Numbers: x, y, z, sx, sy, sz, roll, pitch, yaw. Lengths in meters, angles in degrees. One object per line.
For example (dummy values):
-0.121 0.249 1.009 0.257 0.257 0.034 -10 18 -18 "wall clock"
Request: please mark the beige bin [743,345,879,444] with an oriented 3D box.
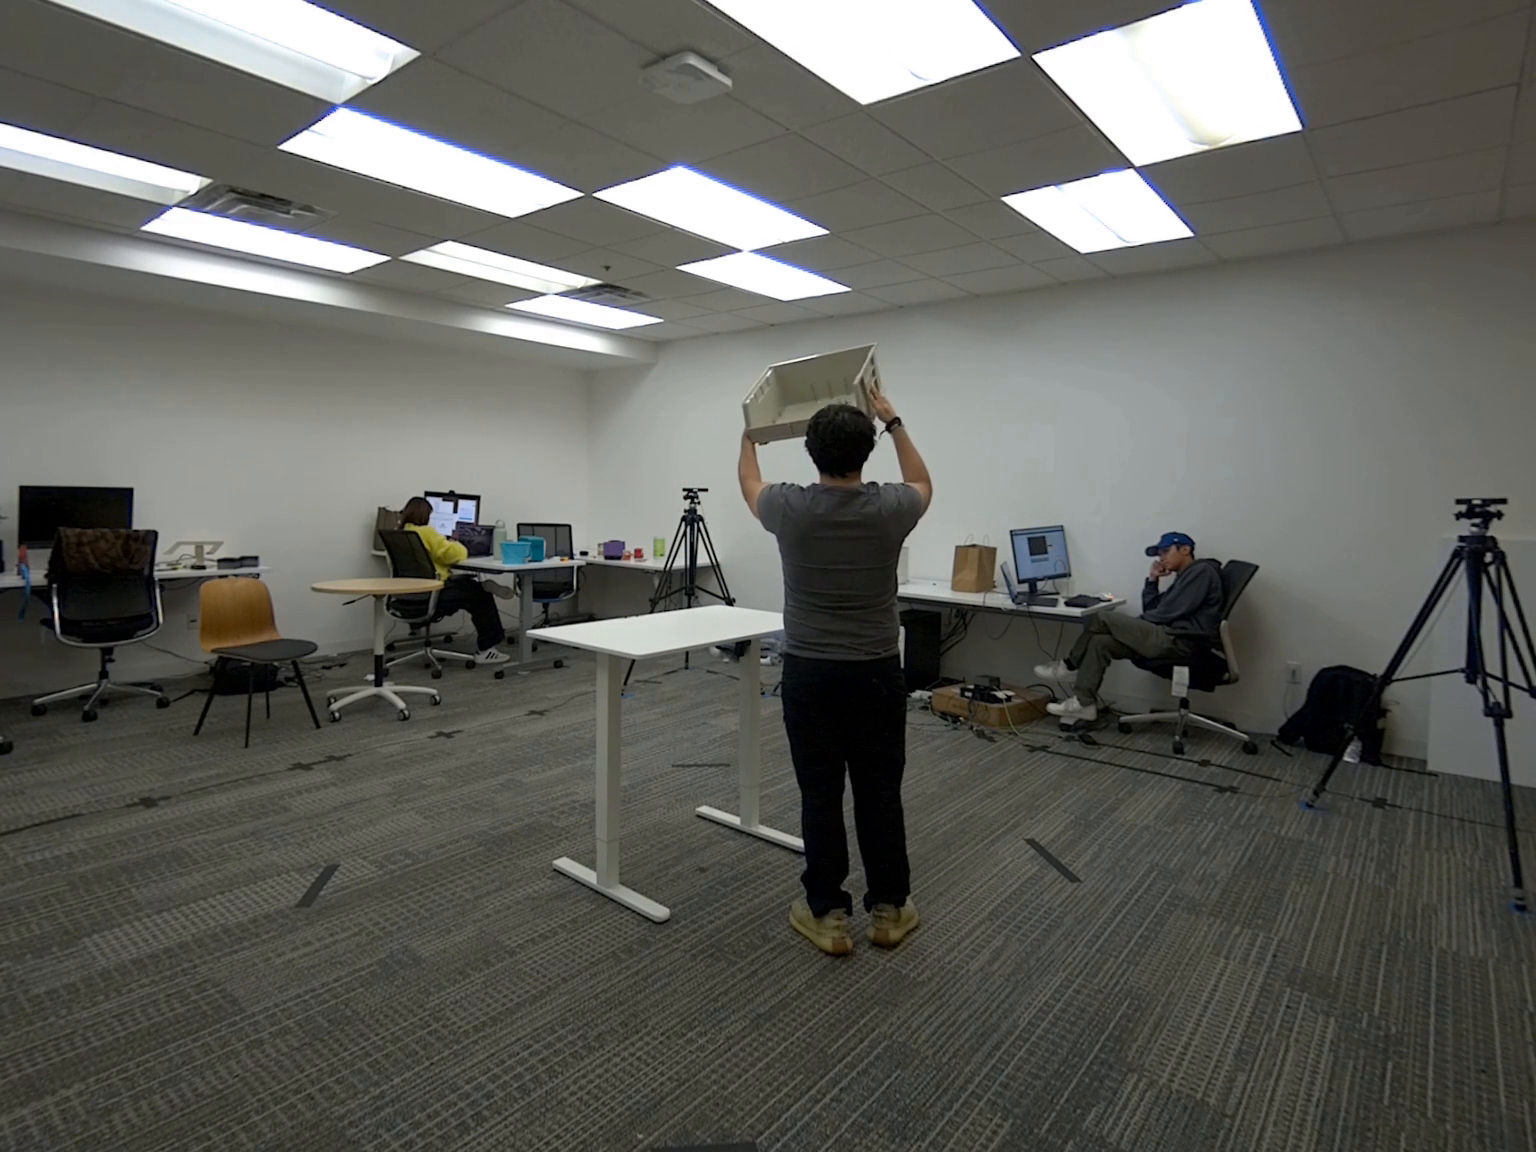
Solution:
0.161 -0.632 3.005 0.432 0.183 0.380 -6 31 25 "beige bin"
